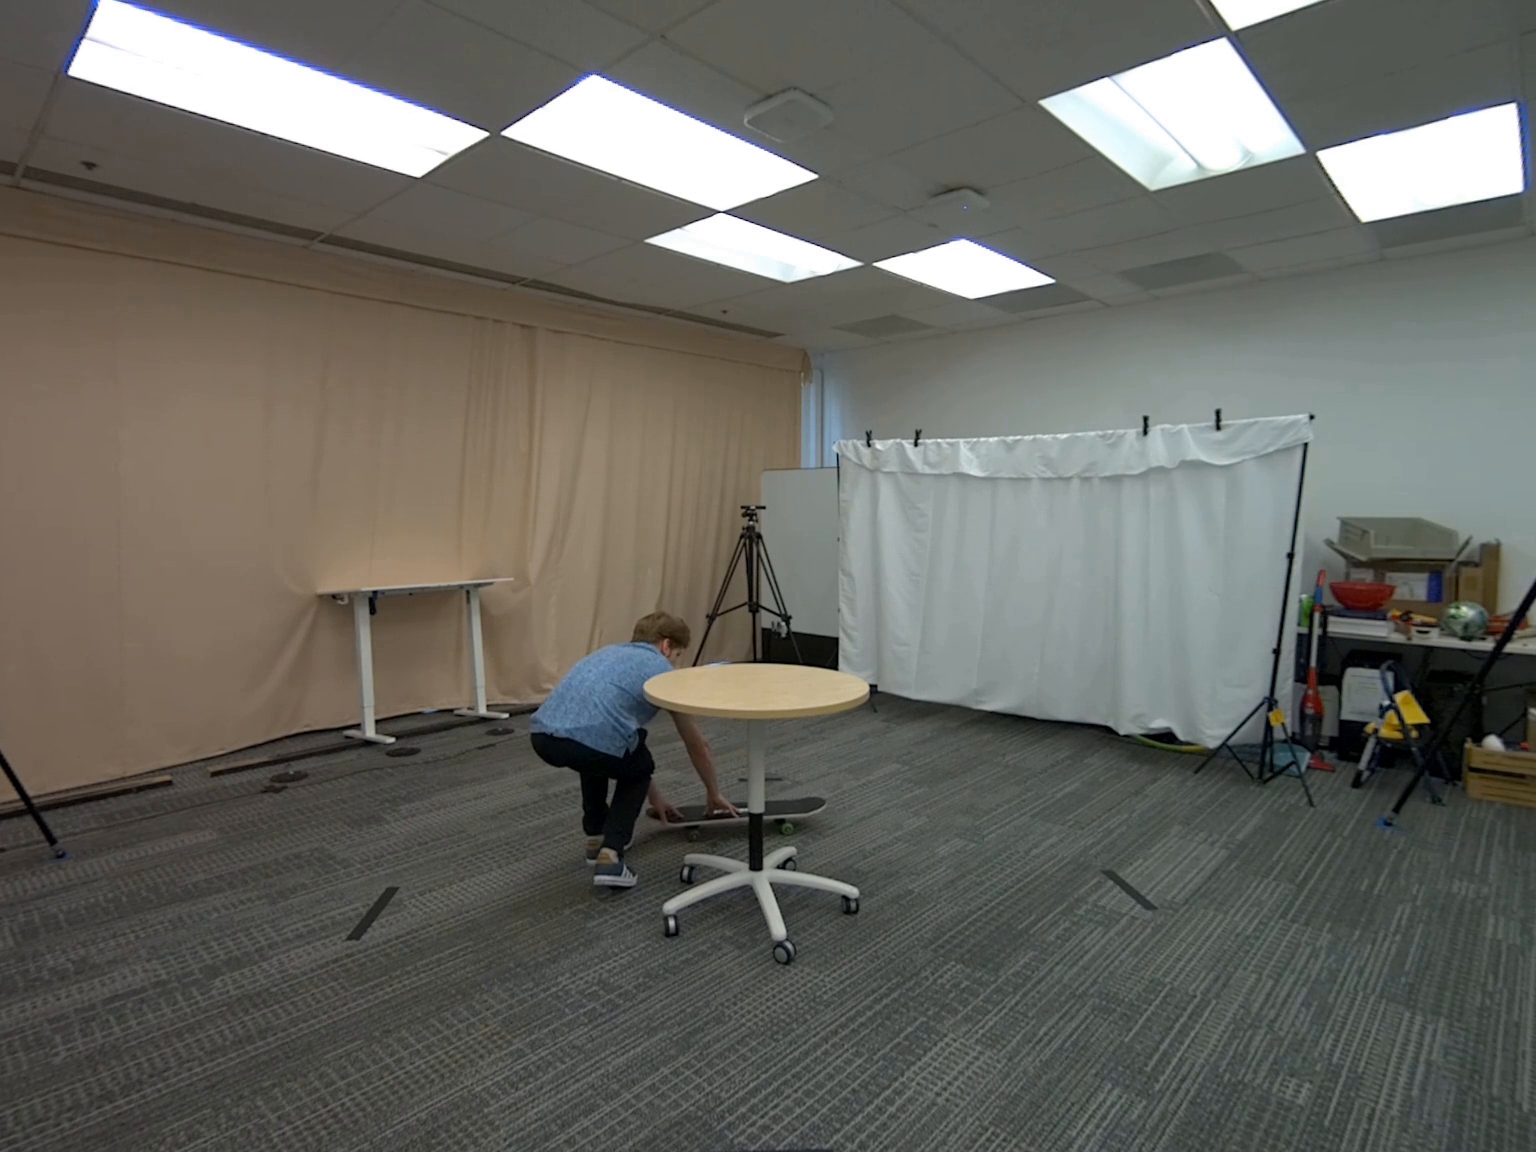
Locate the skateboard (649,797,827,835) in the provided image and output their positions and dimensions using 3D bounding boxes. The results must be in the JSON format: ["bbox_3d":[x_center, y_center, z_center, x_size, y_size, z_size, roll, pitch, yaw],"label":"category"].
[{"bbox_3d":[-0.137,1.035,3.601,0.777,0.110,0.196,-1,4,-10],"label":"skateboard"}]
